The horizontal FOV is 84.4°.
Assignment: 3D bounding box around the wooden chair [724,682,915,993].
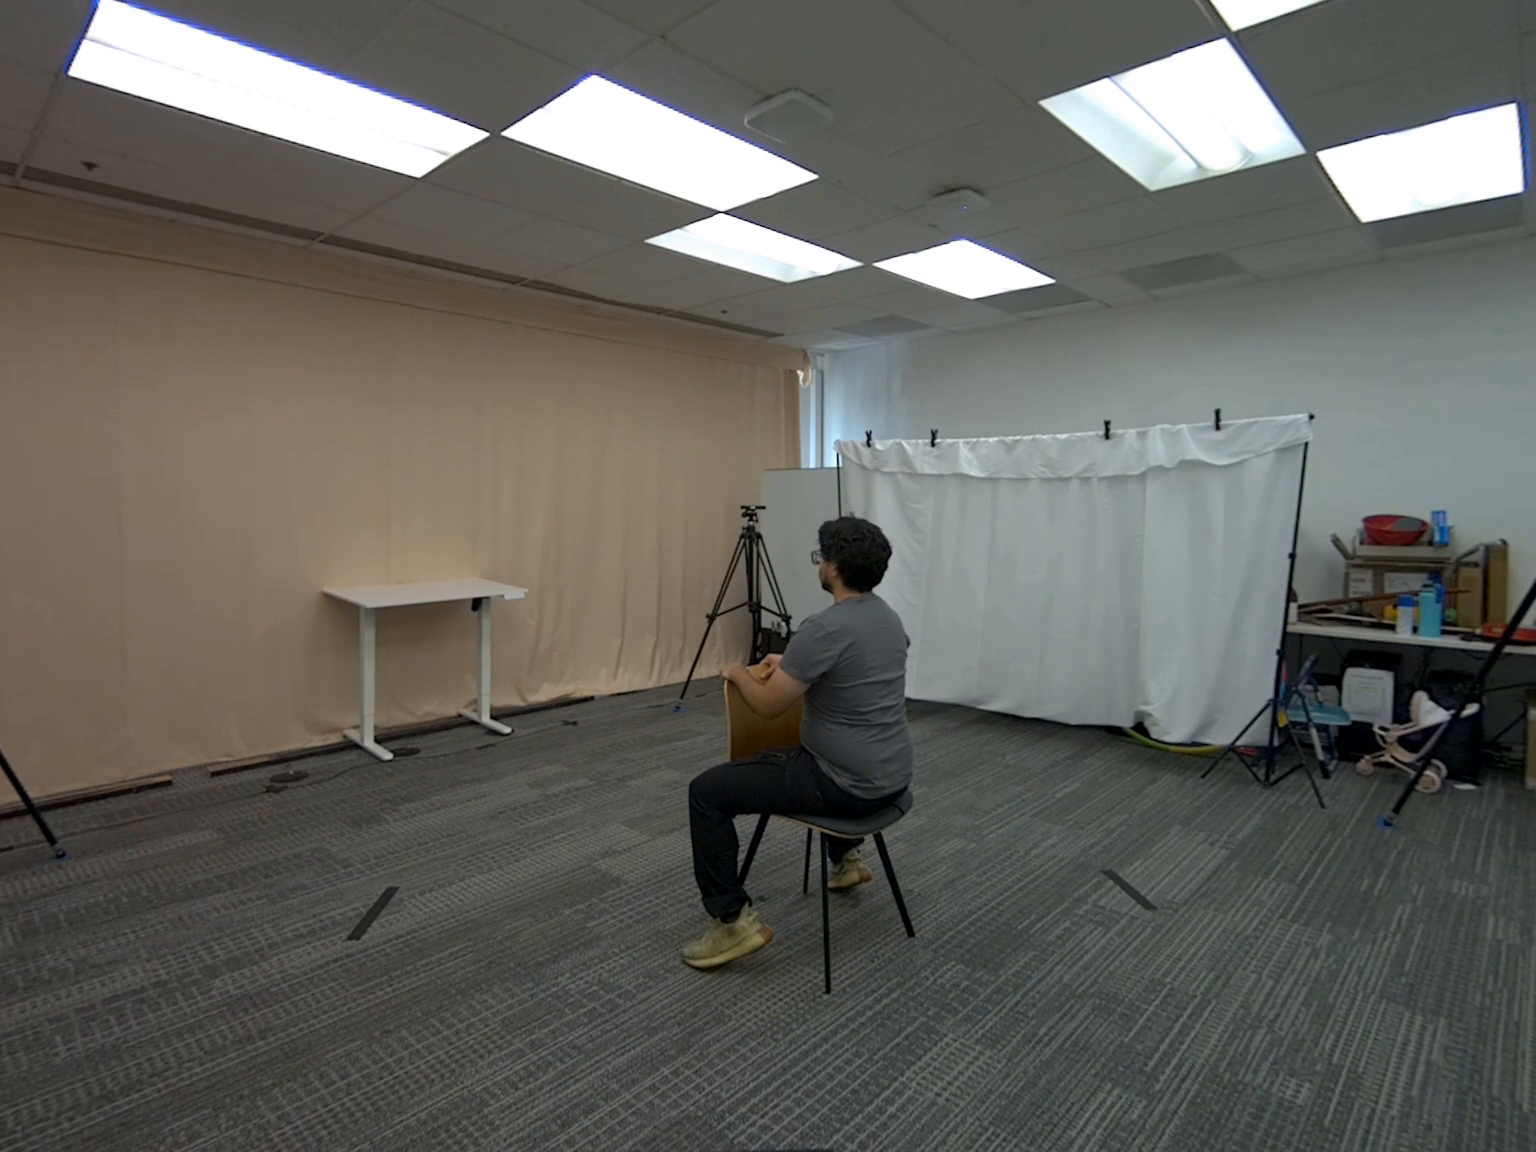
[{"bbox_3d":[0.165,0.743,2.683,0.539,0.877,0.463,-3,0,44],"label":"wooden chair"}]
